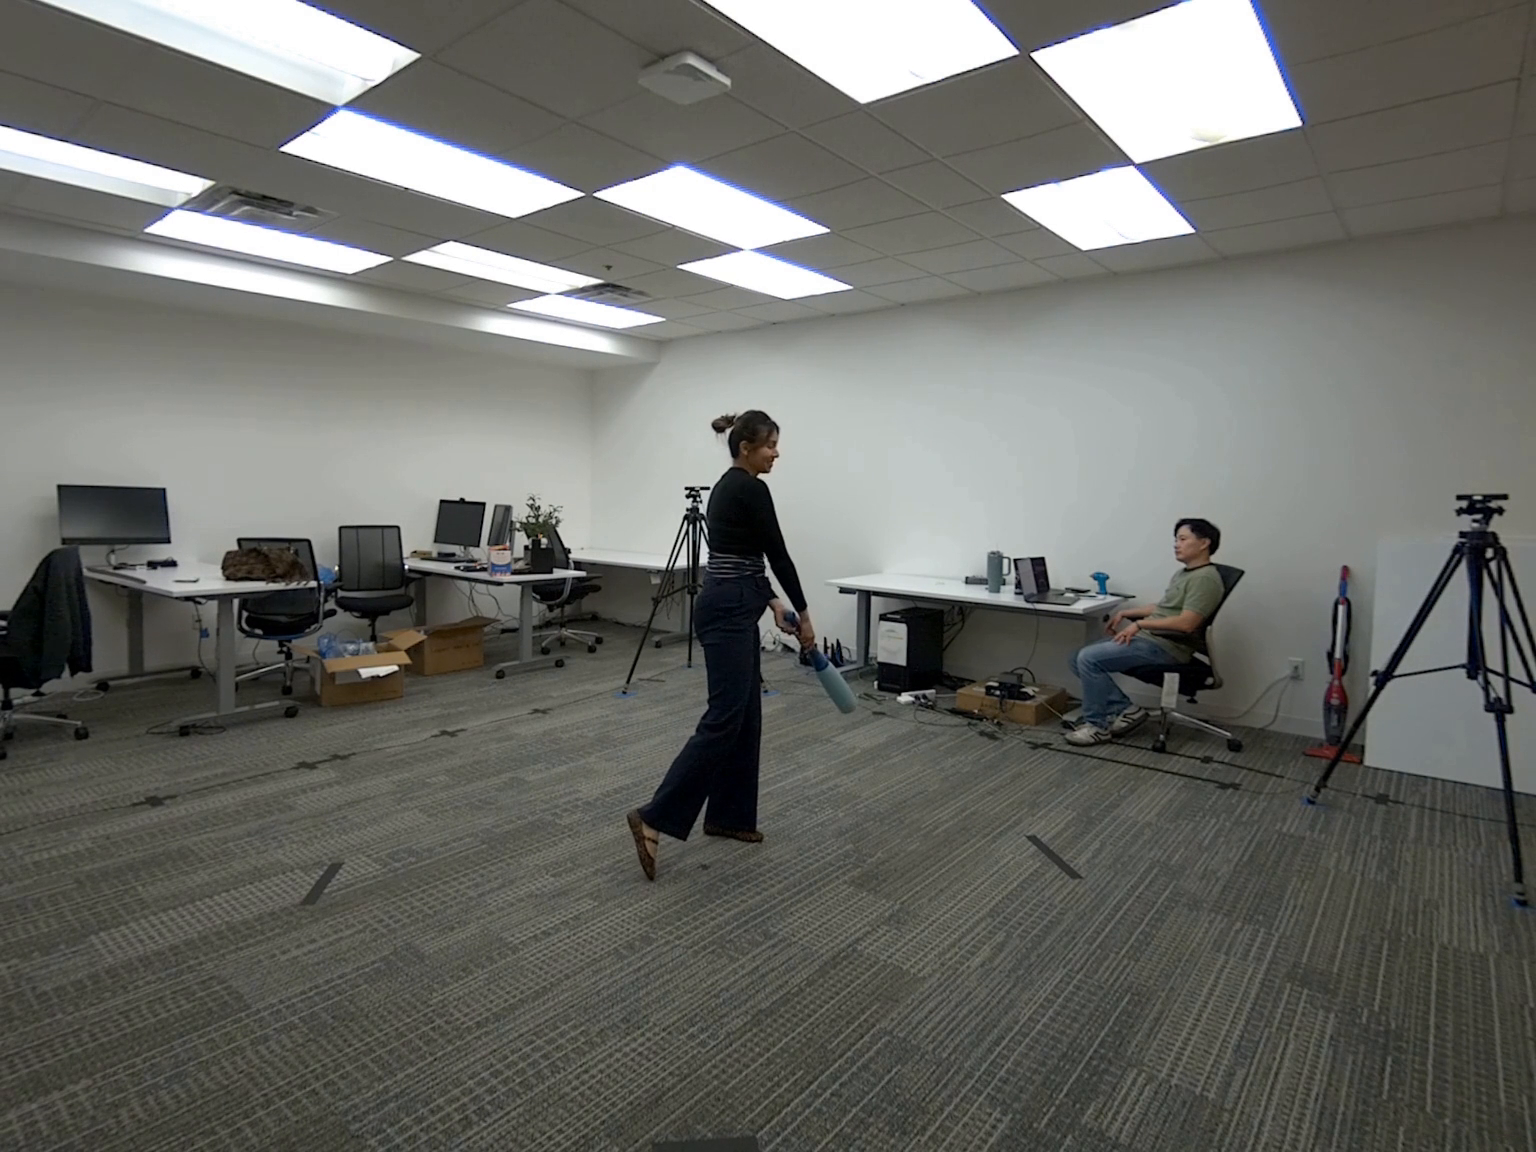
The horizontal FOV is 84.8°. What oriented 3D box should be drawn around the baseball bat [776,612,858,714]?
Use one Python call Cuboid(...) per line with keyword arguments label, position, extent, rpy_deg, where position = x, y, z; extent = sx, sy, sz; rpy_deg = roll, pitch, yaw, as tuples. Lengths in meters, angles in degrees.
Cuboid(label="baseball bat", position=(0.189, 0.353, 3.459), extent=(0.089, 0.527, 0.091), rpy_deg=(-29, 24, 14))
